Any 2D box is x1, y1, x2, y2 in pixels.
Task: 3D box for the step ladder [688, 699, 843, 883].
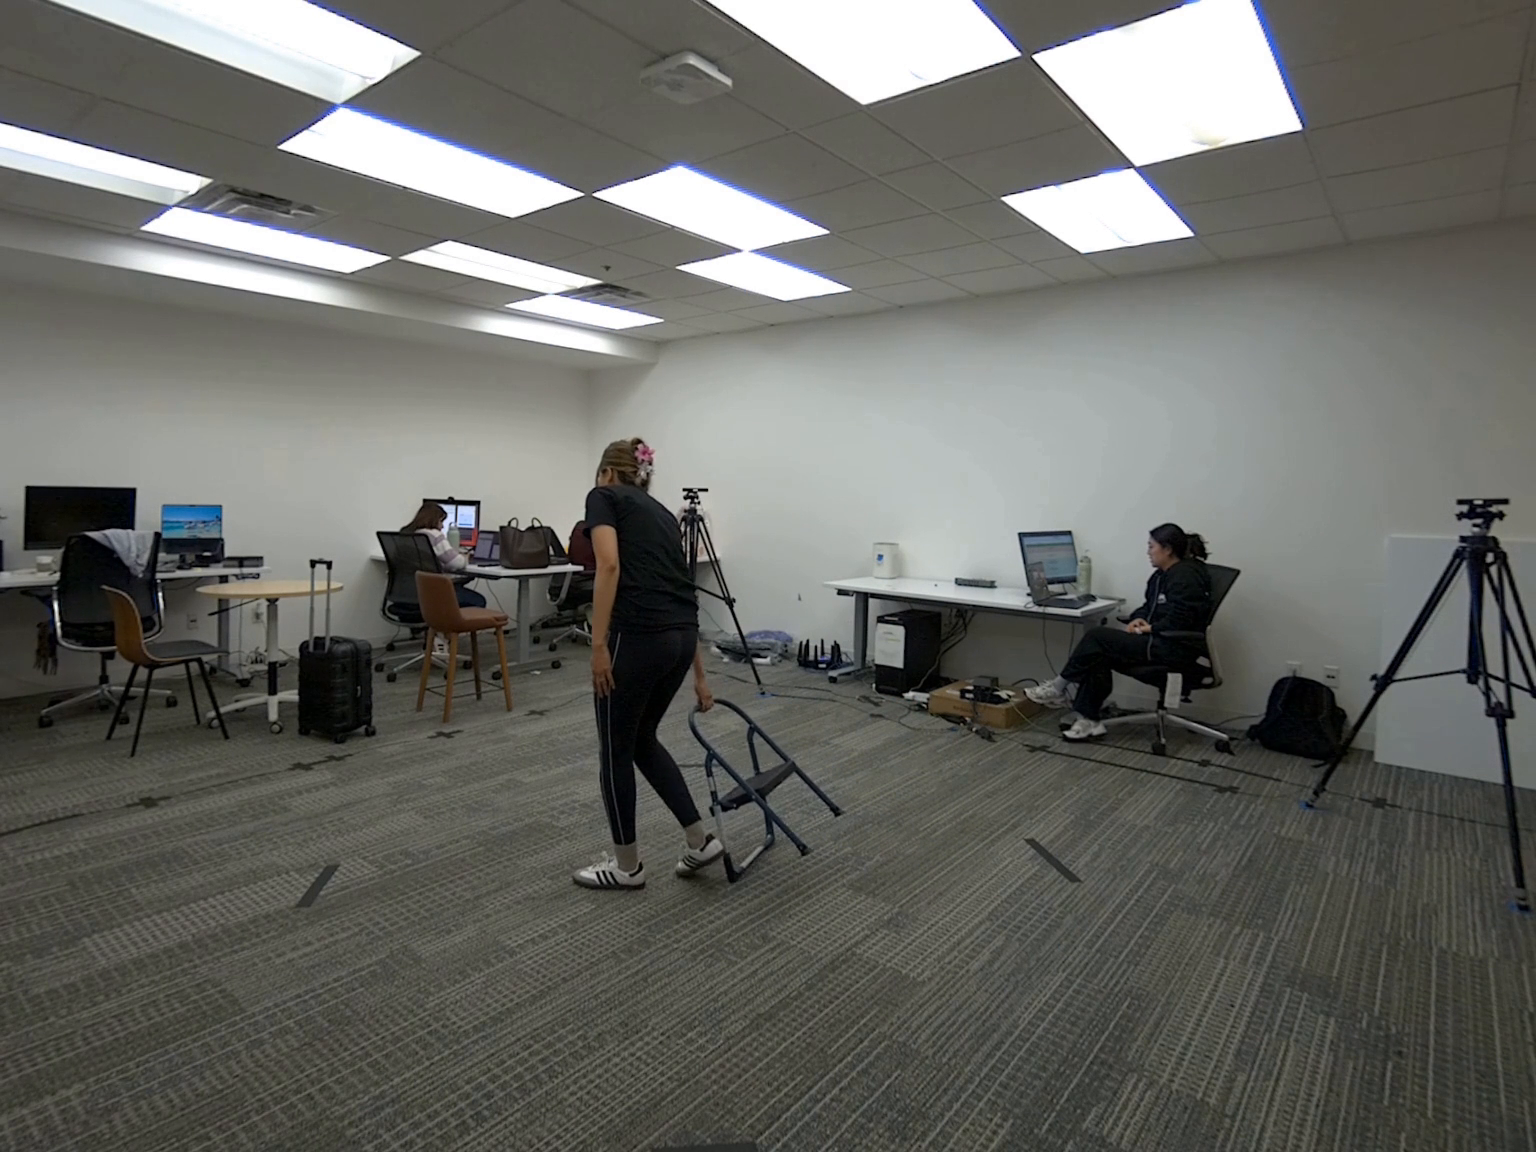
[{"bbox_3d":[-0.060,0.725,3.180,0.352,0.614,0.421,-30,-9,22],"label":"step ladder"}]
